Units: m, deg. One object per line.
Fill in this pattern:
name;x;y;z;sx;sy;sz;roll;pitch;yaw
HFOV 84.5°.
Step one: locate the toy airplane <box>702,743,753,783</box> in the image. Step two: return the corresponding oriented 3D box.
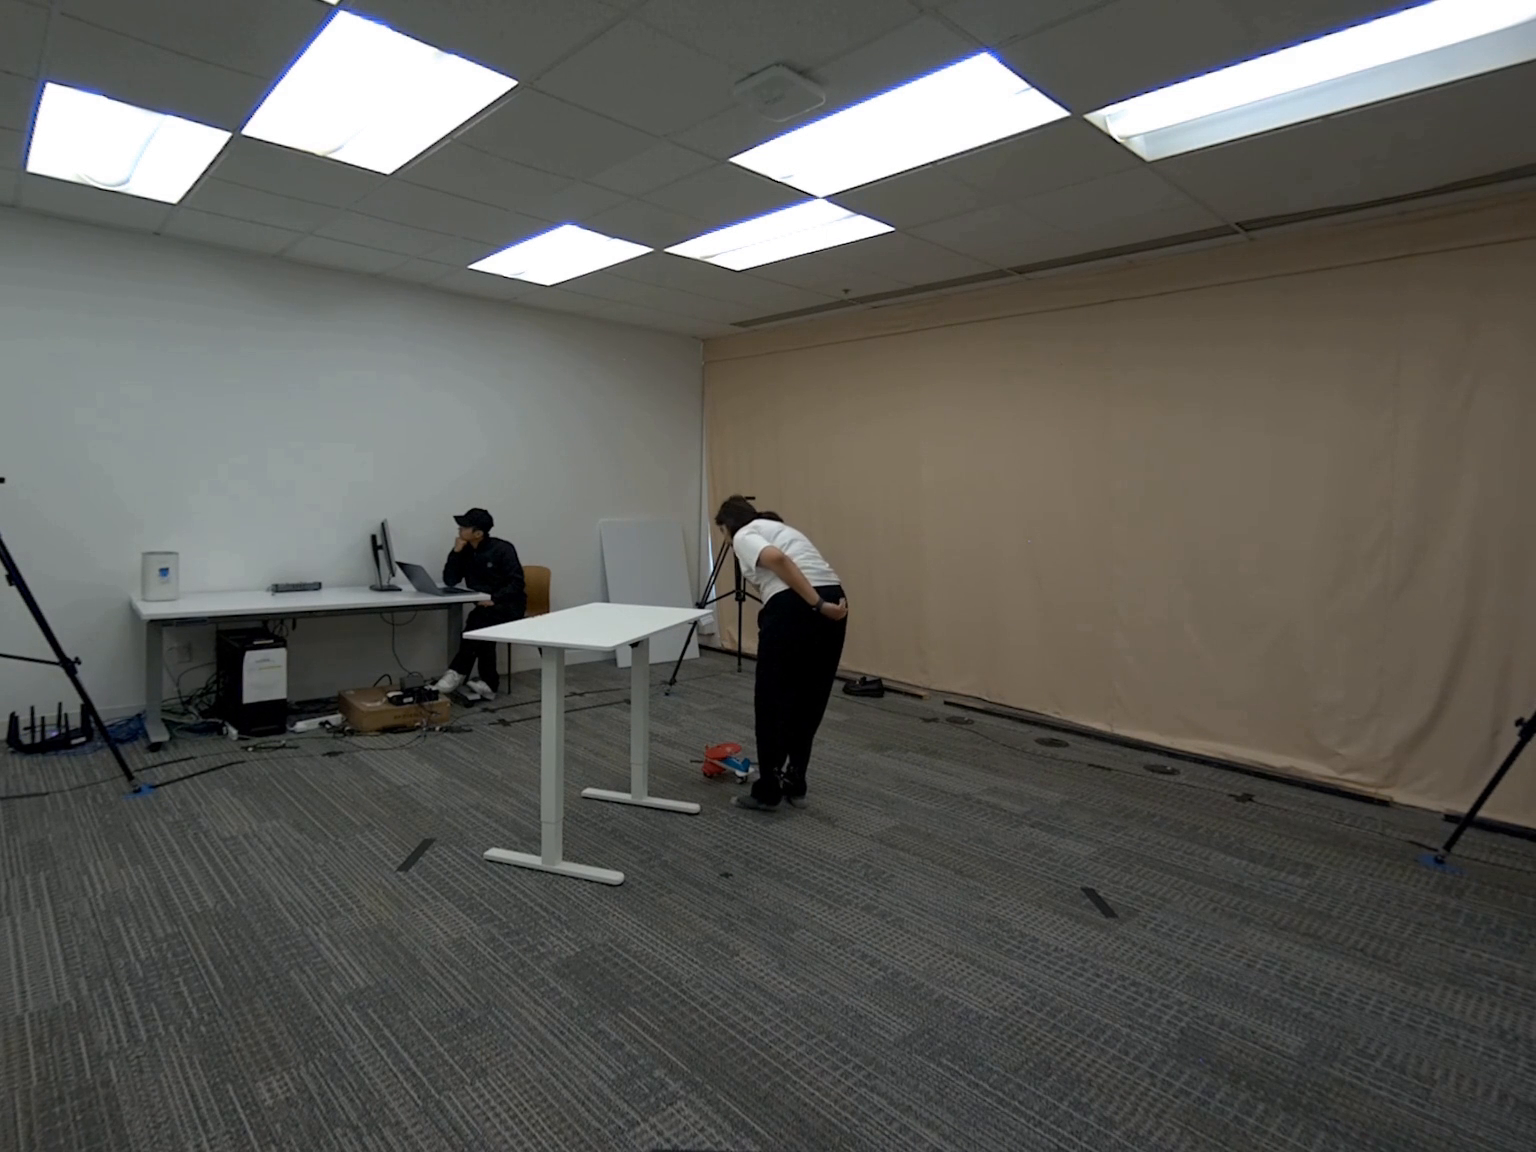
toy airplane;-0.210;0.935;4.215;0.261;0.156;0.250;2;4;7
